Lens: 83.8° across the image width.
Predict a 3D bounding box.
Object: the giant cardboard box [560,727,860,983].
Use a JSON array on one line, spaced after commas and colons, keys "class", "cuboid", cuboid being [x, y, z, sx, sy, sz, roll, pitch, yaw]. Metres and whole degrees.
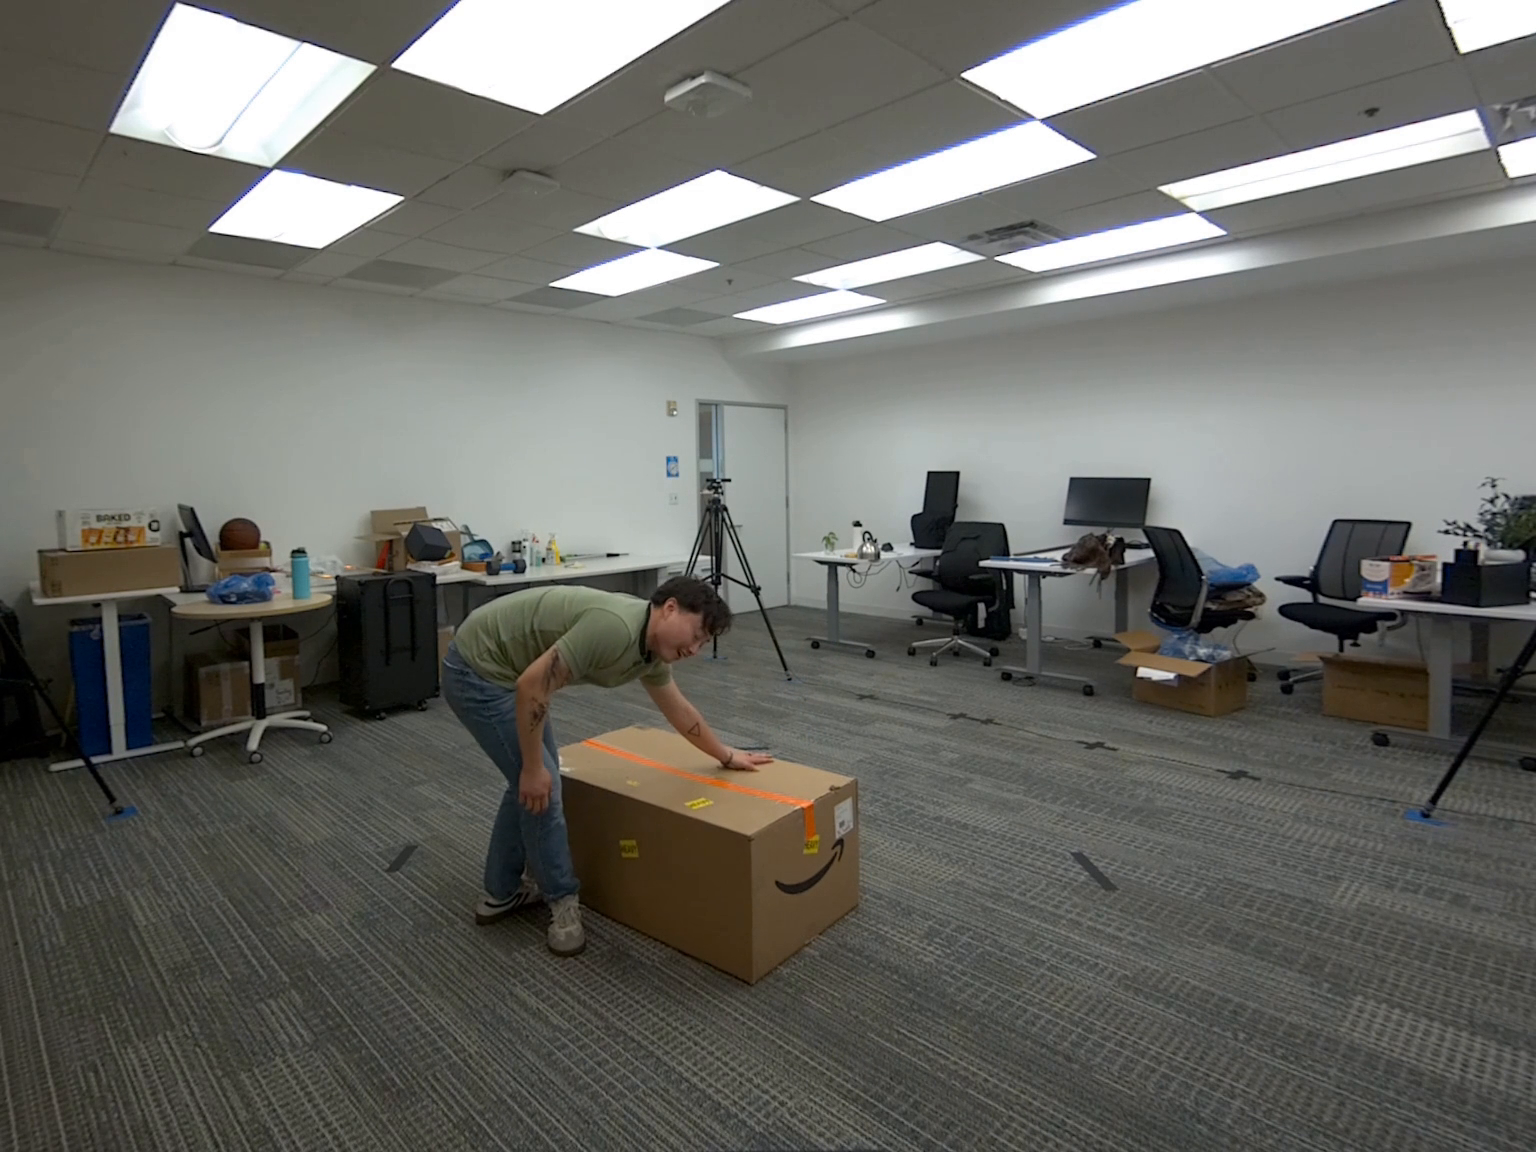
[{"class": "giant cardboard box", "cuboid": [-0.278, 0.861, 2.894, 1.057, 0.424, 0.563, 4, 8, 39]}]
